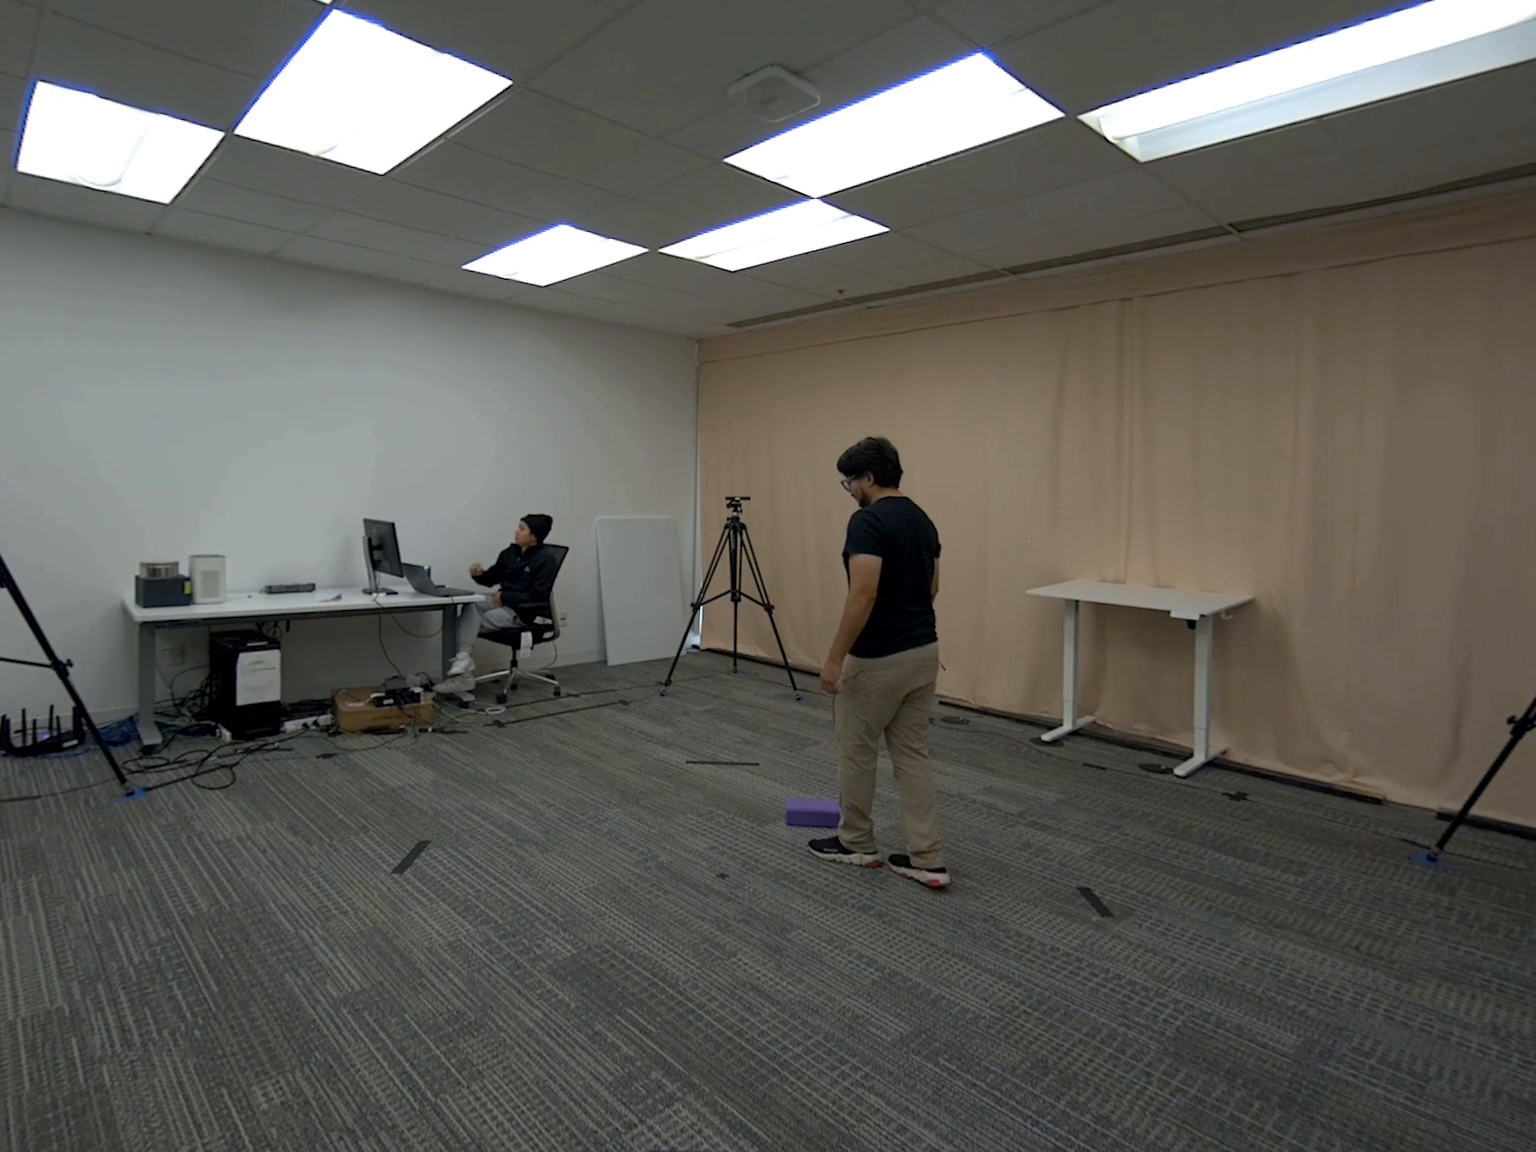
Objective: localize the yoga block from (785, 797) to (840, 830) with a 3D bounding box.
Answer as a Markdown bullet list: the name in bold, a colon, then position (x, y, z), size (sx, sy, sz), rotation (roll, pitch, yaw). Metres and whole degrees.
- **yoga block**: position (0.181, 1.027, 3.661), size (0.230, 0.076, 0.149), rotation (2, 6, 4)
